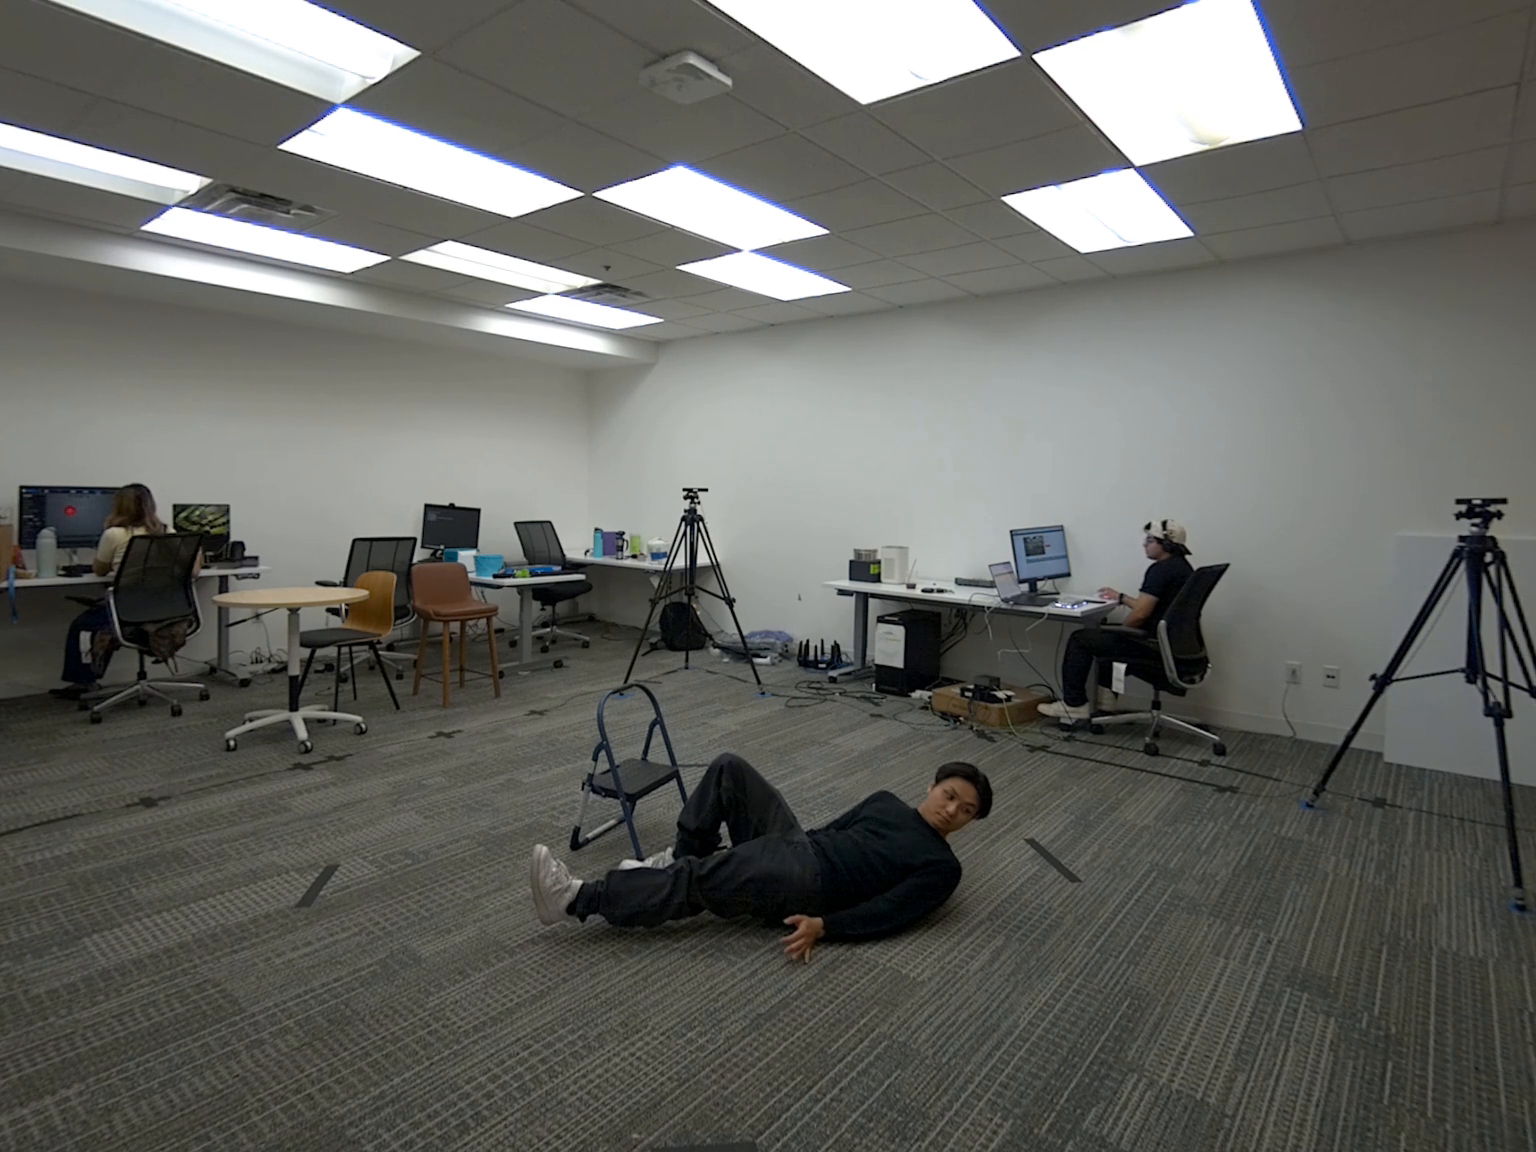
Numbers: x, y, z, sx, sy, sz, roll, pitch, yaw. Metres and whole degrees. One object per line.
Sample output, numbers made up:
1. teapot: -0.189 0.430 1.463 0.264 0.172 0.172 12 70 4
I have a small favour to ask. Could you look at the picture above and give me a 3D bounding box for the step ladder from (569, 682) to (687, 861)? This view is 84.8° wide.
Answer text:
1. step ladder: -0.527 0.738 3.343 0.358 0.604 0.421 3 4 25
